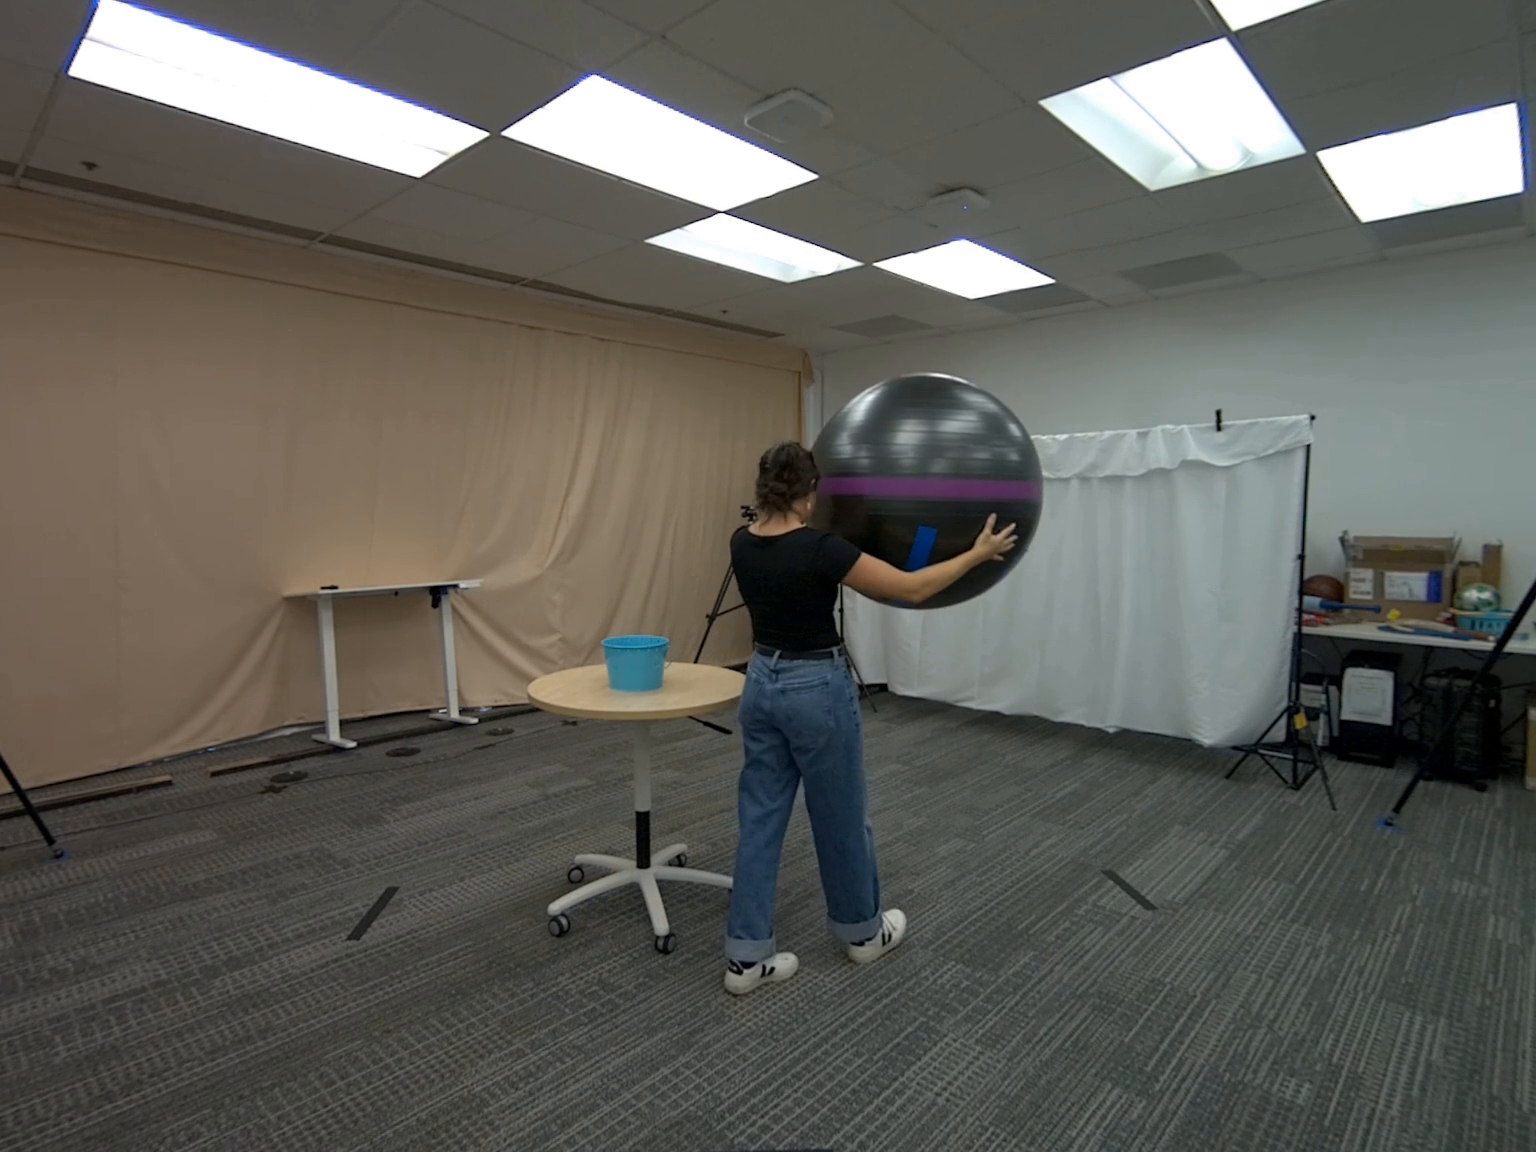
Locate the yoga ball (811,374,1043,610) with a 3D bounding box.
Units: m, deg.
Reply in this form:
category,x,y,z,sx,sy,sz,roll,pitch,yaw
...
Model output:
category,x,y,z,sx,sy,sz,roll,pitch,yaw
yoga ball,0.504,-0.273,2.765,0.757,0.756,0.760,0,4,-2
